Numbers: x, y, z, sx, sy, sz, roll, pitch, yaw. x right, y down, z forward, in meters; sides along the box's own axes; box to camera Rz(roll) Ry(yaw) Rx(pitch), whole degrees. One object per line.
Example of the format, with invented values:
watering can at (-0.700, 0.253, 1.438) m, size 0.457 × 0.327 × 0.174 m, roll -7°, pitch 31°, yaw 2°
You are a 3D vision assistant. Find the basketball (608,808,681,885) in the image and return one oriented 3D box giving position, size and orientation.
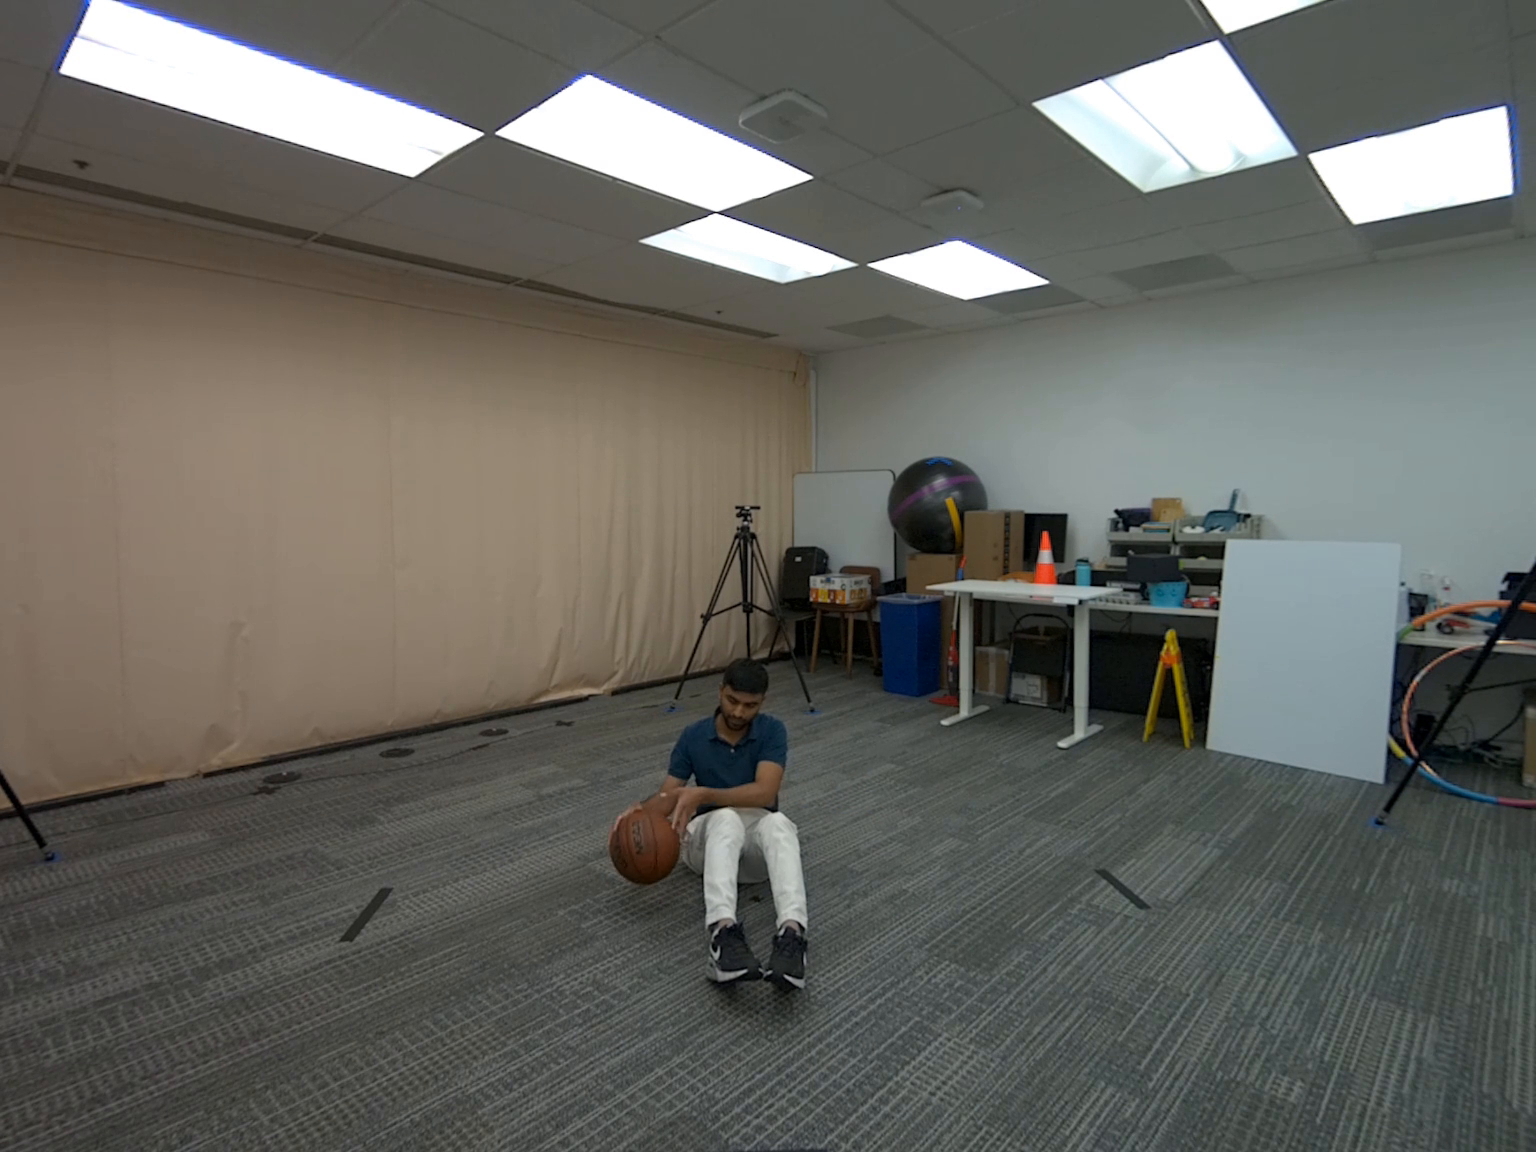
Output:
basketball at (-0.408, 0.904, 2.868) m, size 0.236 × 0.235 × 0.237 m, roll 0°, pitch 4°, yaw -2°
